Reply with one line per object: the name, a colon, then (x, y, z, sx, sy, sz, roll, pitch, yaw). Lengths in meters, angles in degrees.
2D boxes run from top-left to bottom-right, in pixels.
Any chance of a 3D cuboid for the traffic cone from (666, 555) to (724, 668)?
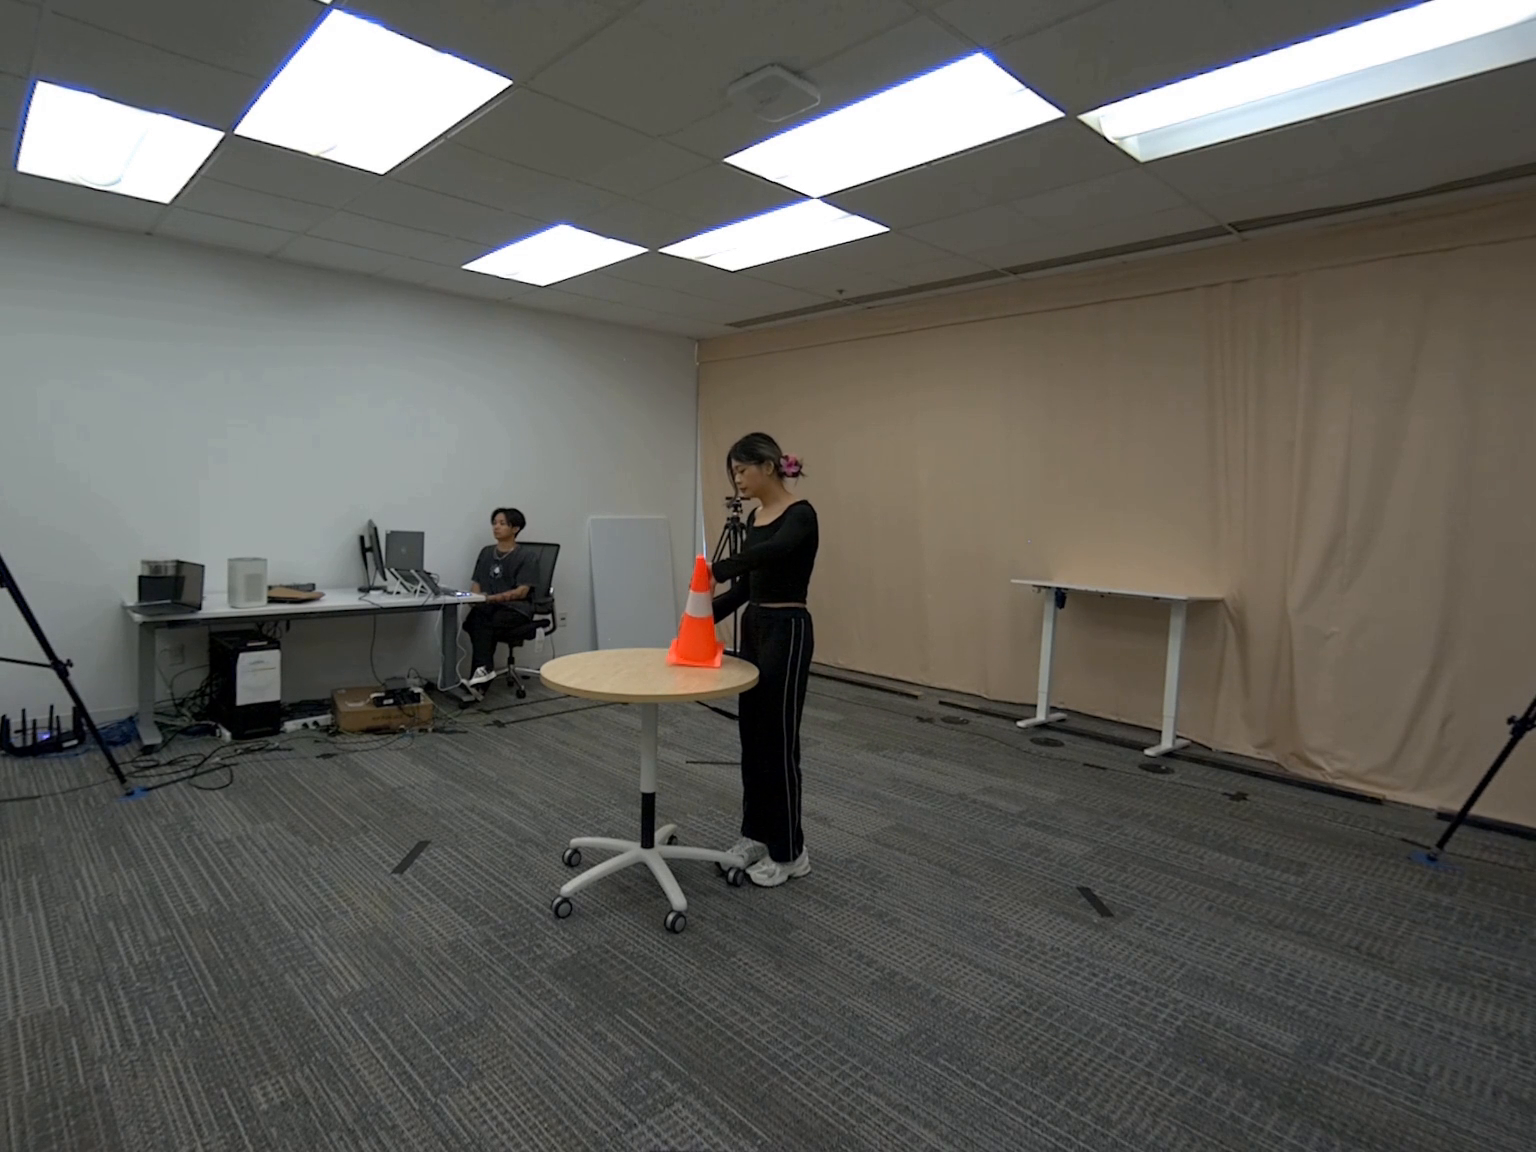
traffic cone: (-0.256, 0.109, 3.027, 0.203, 0.379, 0.207, 2, 19, 0)
